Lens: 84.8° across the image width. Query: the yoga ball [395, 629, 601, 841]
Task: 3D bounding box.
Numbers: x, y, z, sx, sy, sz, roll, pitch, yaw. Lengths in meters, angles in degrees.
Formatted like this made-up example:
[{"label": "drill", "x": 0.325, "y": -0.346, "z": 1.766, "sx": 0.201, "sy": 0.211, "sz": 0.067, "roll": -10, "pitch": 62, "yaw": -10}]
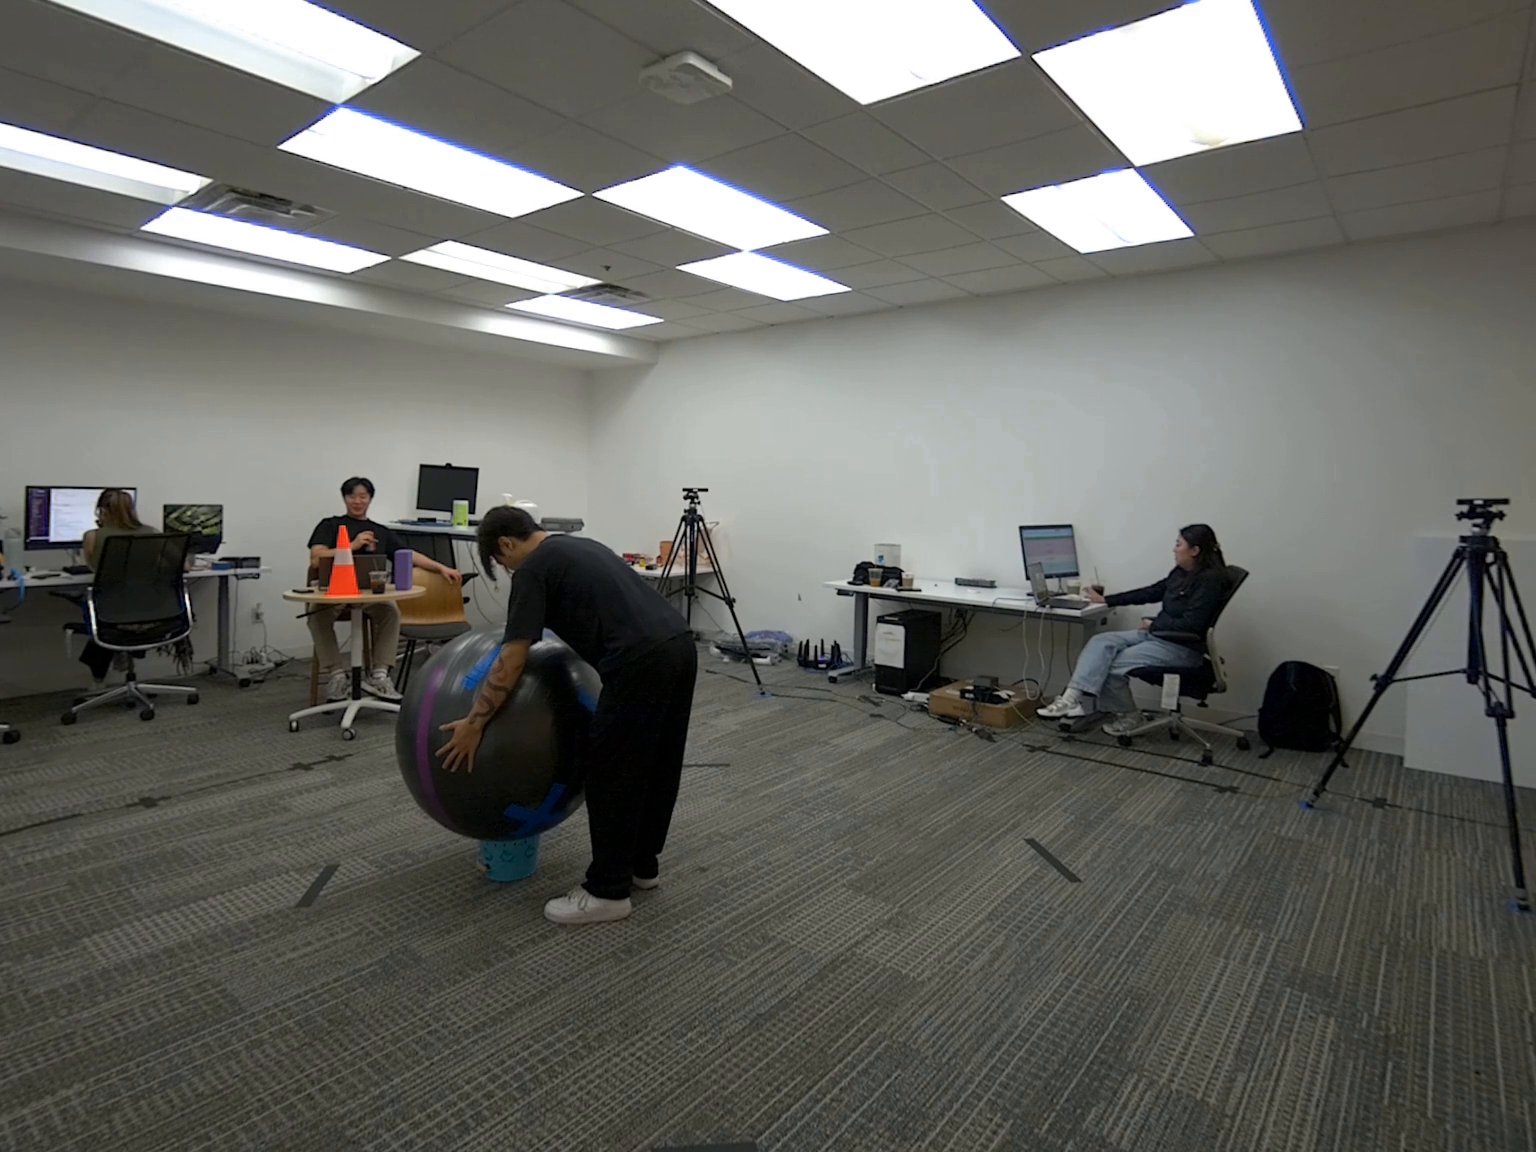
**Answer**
[{"label": "yoga ball", "x": -0.958, "y": 0.553, "z": 3.054, "sx": 0.757, "sy": 0.756, "sz": 0.762, "roll": 1, "pitch": 4, "yaw": -2}]
